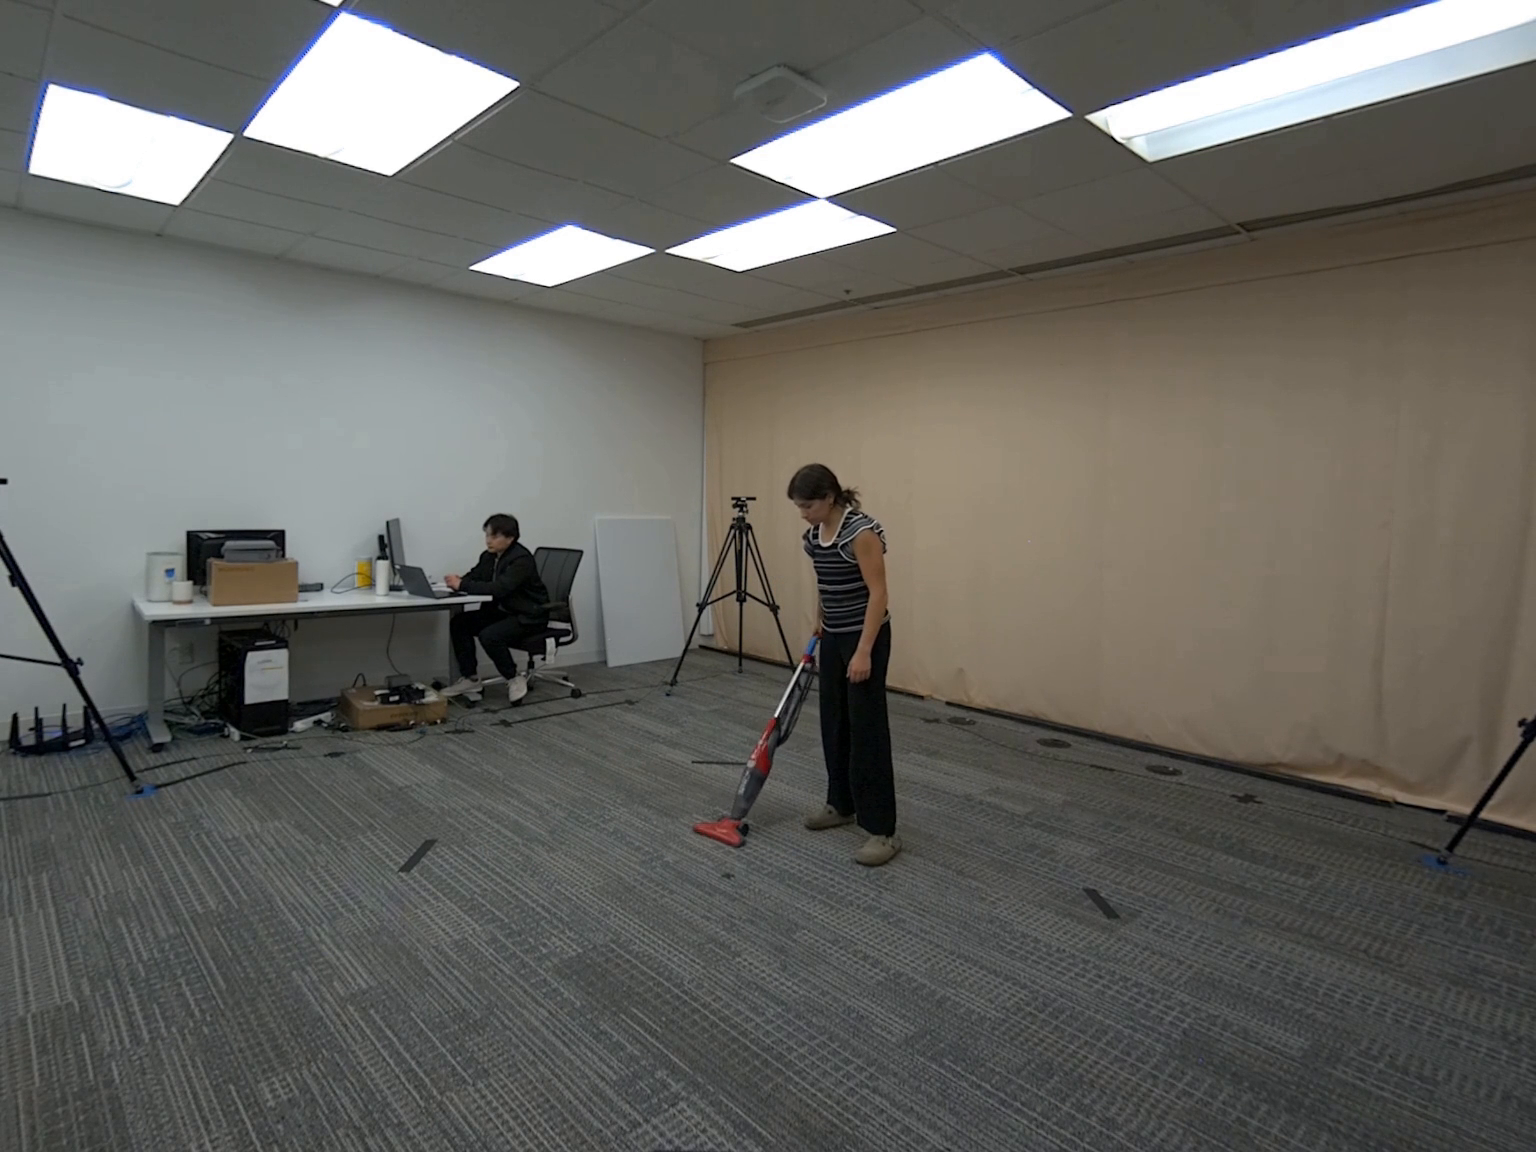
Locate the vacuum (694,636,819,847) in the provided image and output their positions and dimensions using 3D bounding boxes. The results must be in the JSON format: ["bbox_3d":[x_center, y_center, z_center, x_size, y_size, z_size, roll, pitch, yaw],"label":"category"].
[{"bbox_3d":[0.034,0.663,3.712,0.259,1.055,0.140,4,-38,39],"label":"vacuum"}]
